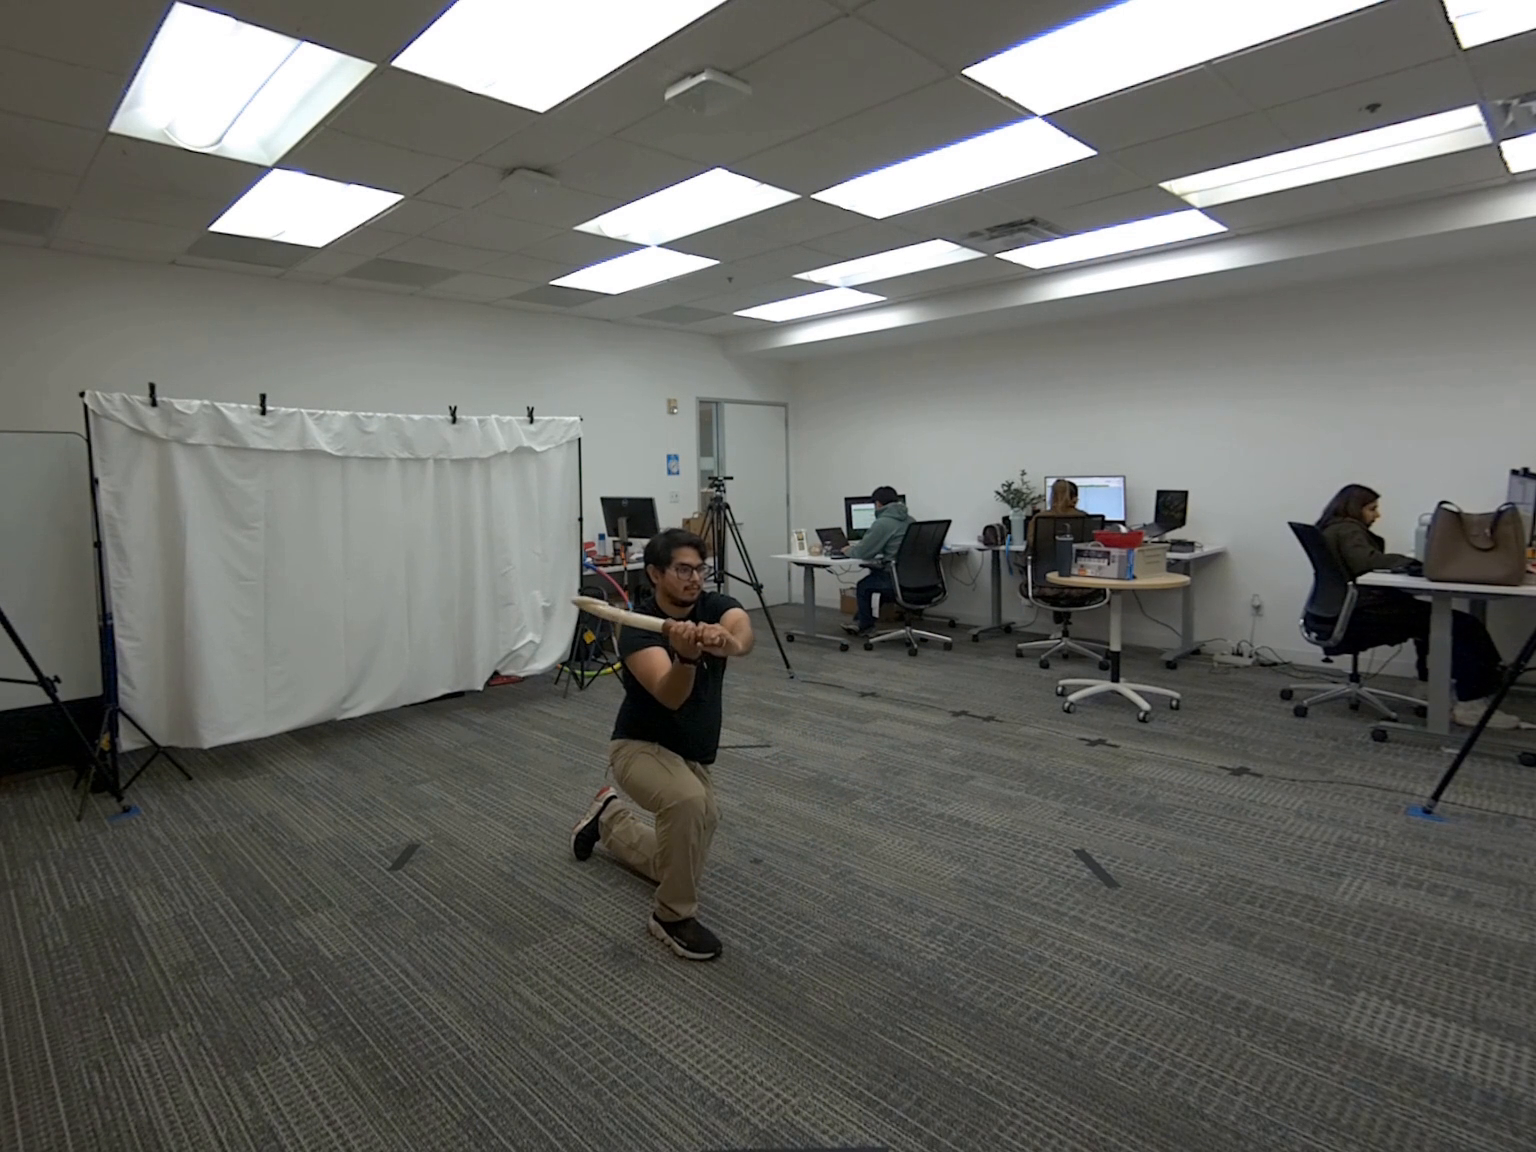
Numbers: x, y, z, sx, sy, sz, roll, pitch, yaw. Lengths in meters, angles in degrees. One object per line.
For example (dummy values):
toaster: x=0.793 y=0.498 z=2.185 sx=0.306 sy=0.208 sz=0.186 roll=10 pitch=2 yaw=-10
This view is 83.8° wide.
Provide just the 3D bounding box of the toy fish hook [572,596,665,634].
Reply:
toy fish hook: x=-0.331 y=0.127 z=2.351 sx=0.523 sy=0.048 sz=0.216 roll=10 pitch=-8 yaw=36
